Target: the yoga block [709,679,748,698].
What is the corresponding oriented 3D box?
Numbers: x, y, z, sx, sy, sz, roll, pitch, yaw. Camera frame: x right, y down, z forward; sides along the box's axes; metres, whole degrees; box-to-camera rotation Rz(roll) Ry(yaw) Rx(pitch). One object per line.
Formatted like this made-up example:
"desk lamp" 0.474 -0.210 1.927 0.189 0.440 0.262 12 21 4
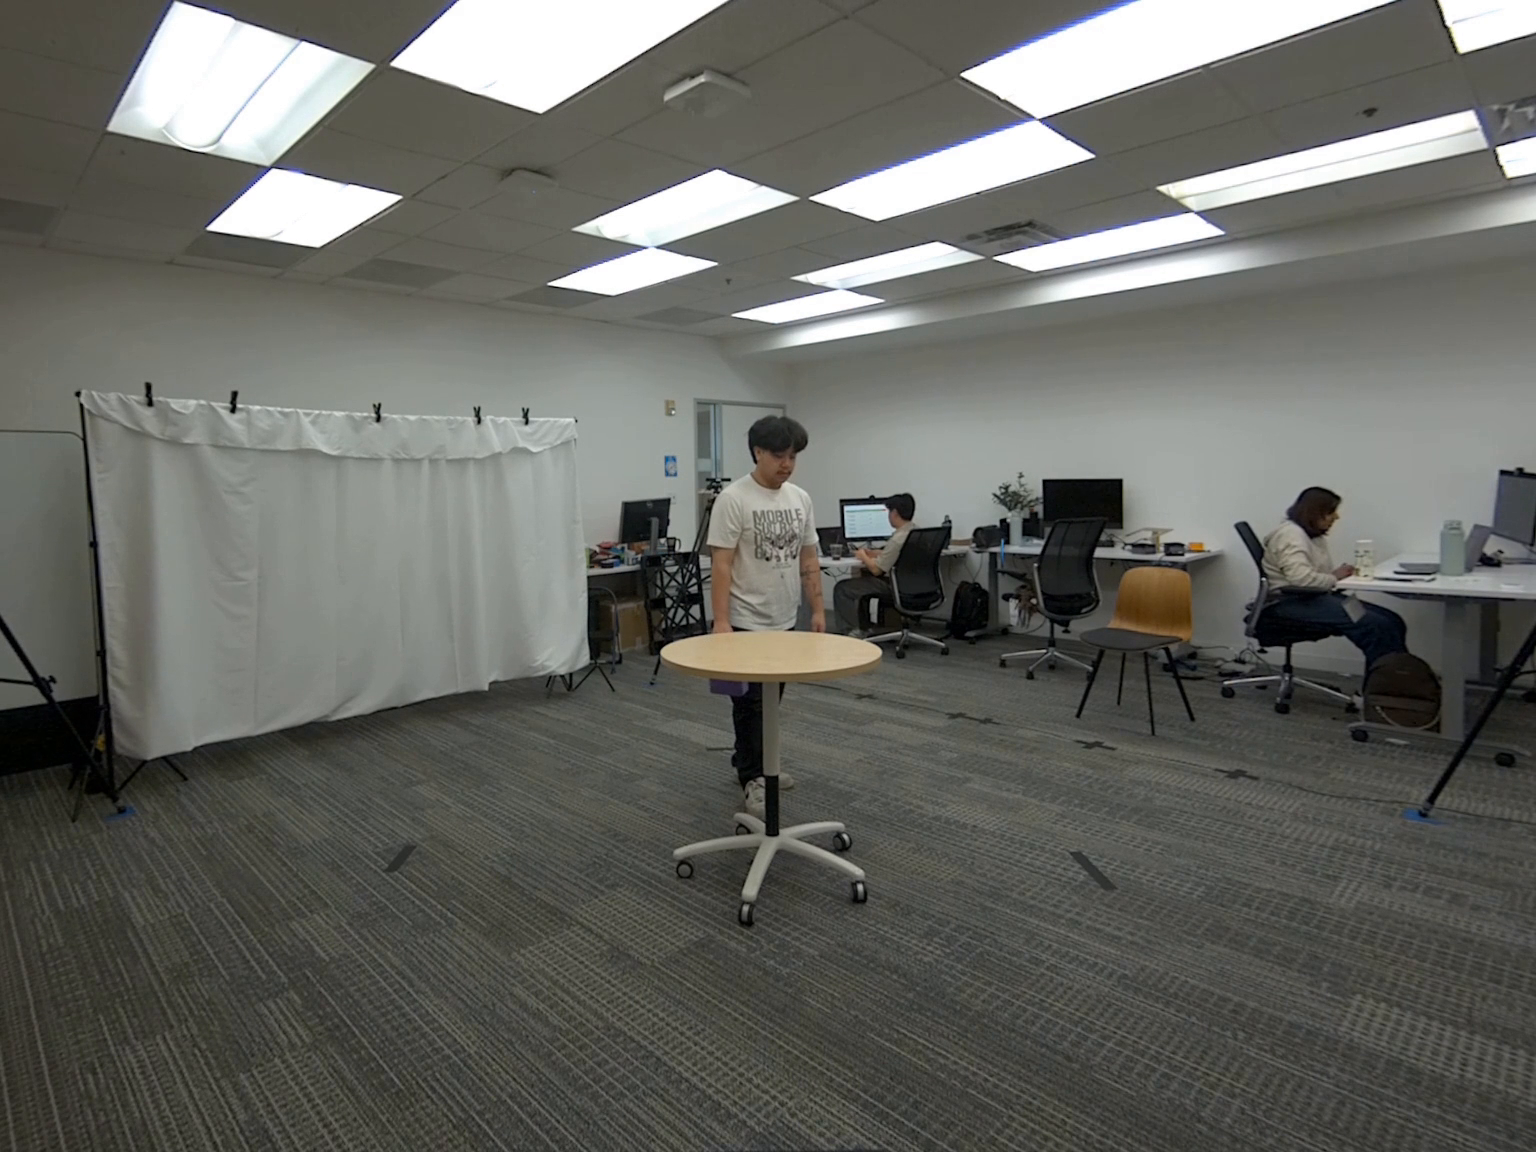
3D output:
"yoga block" -0.158 0.375 3.509 0.151 0.227 0.076 -1 10 14
